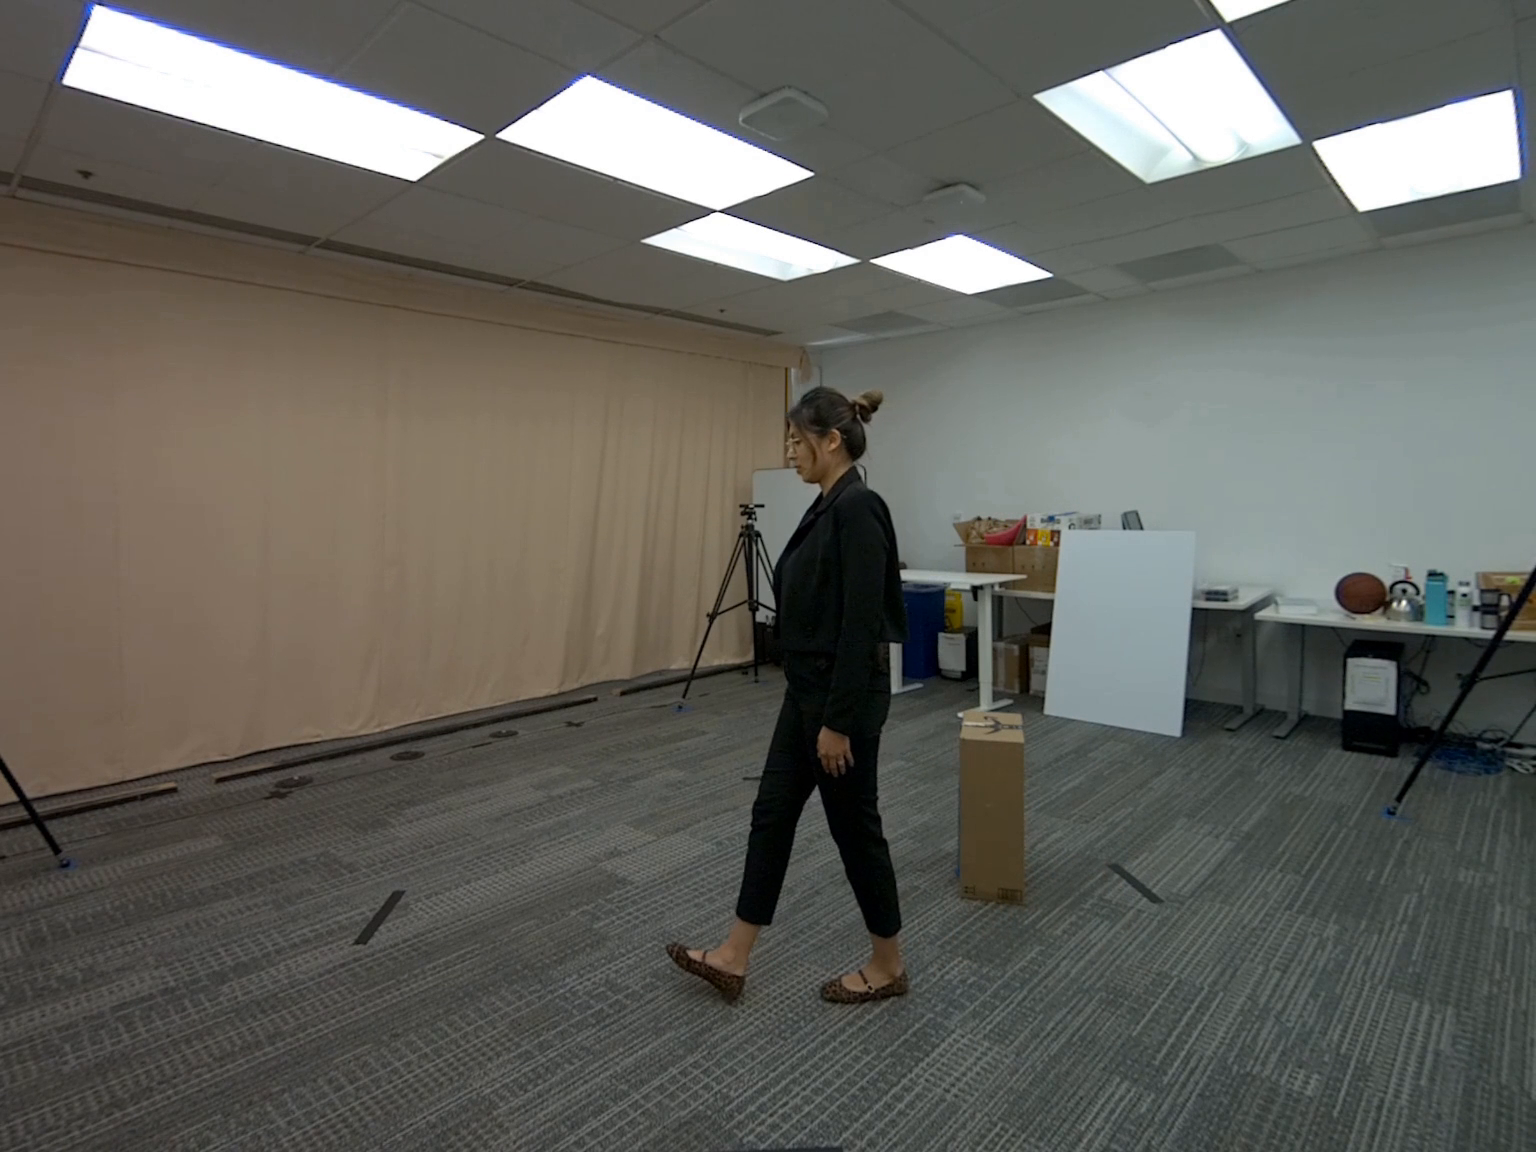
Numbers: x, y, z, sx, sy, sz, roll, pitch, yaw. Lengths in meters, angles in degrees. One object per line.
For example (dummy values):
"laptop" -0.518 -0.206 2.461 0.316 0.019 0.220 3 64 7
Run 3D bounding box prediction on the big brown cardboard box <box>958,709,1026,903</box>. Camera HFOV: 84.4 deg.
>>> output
"big brown cardboard box" 0.829 0.835 3.105 0.237 0.588 0.411 1 2 15
